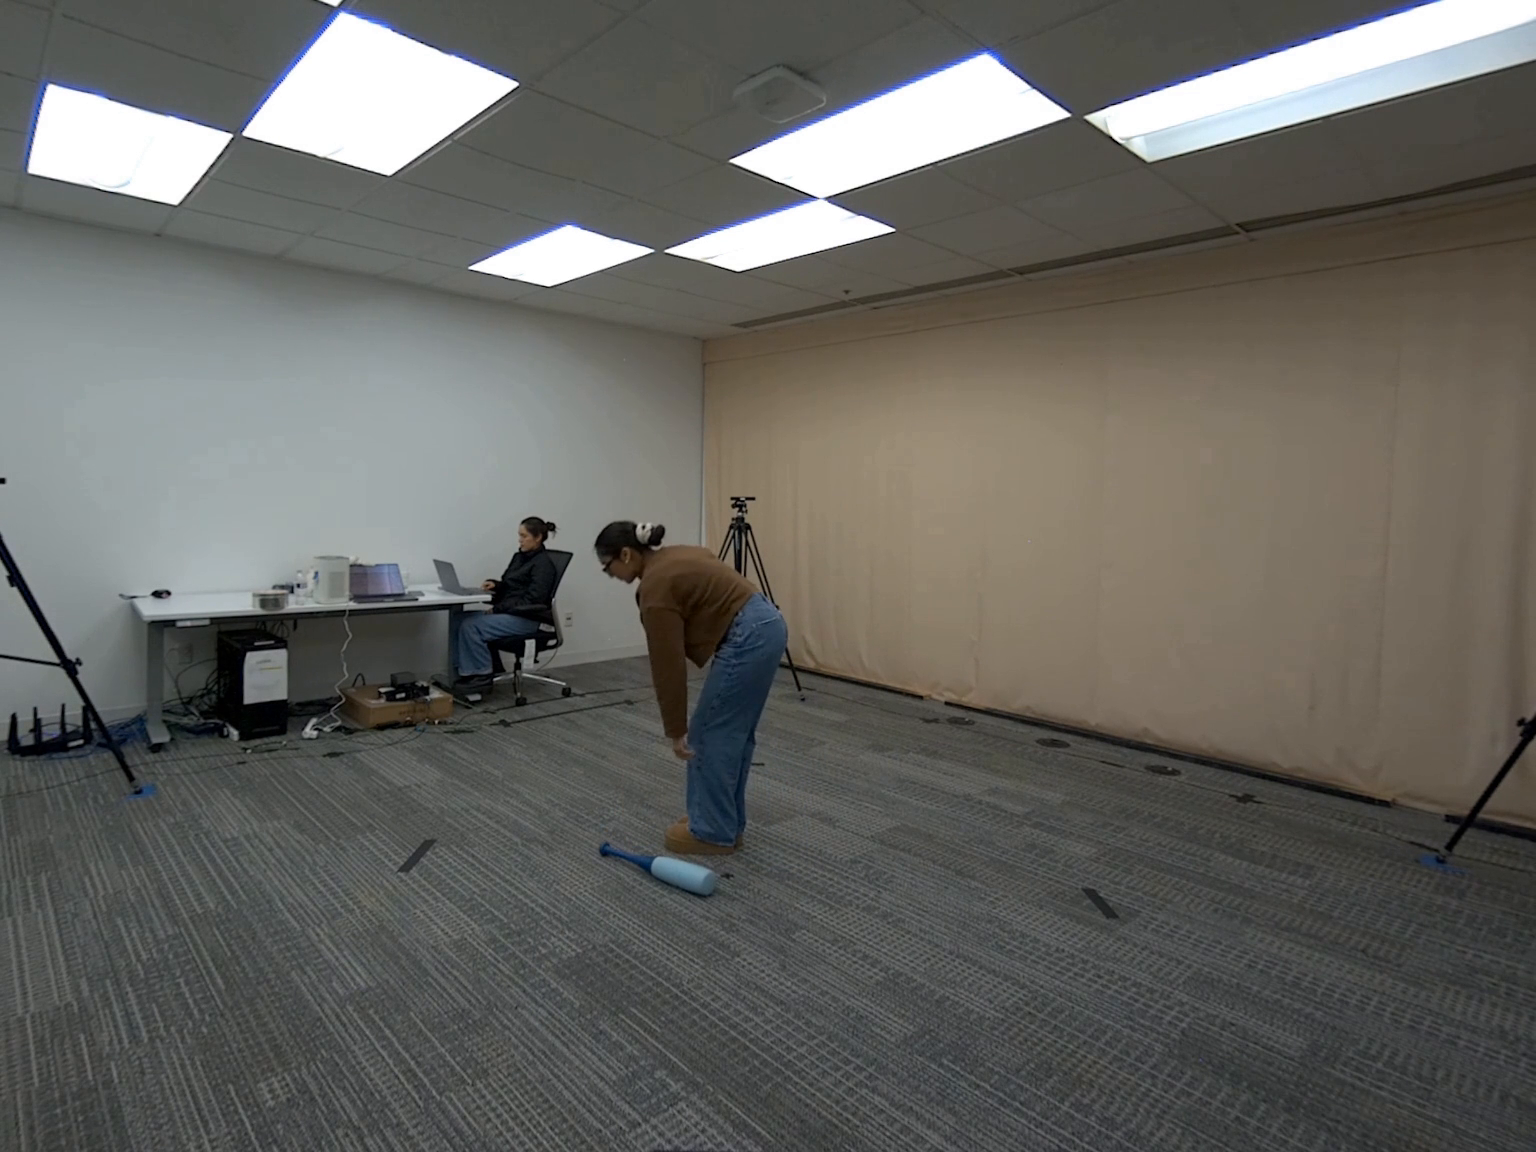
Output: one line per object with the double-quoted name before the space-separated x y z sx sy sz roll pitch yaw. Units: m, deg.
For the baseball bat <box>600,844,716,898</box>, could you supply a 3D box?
"baseball bat" -0.429 1.067 3.091 0.555 0.089 0.087 1 3 36
